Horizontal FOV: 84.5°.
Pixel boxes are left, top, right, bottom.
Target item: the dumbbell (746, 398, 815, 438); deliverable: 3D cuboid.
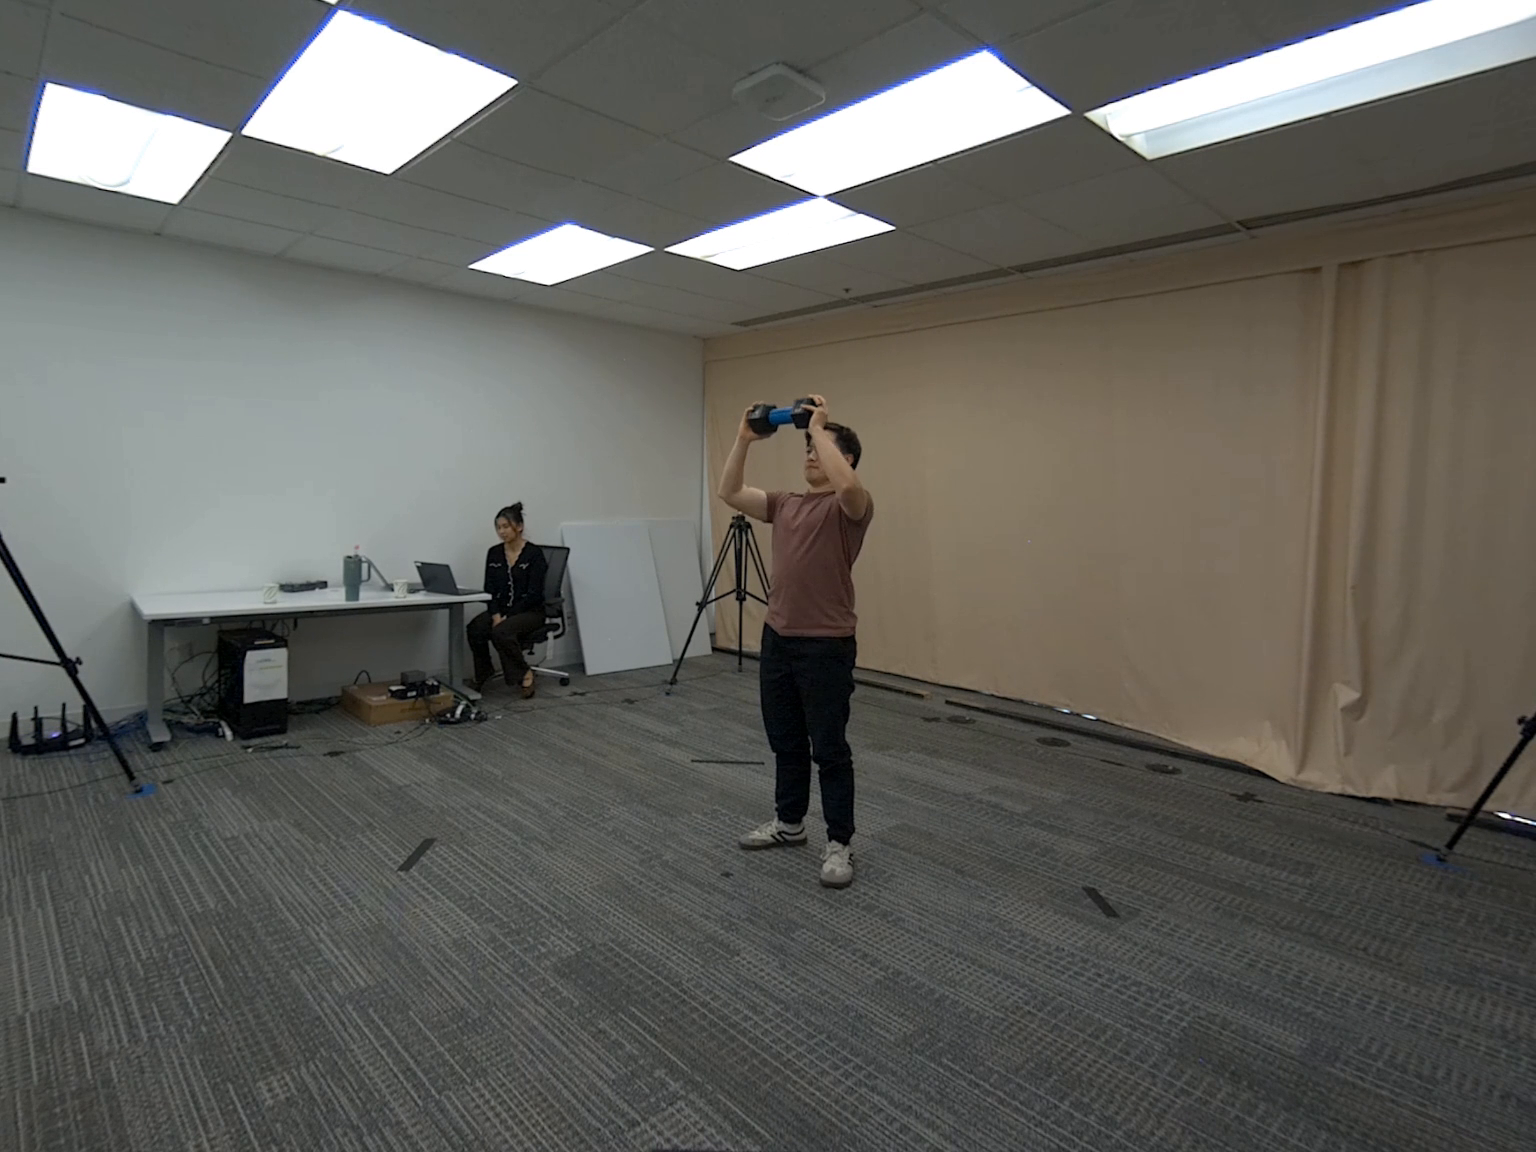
[{"bbox_3d":[0.061,-0.583,3.086,0.301,0.124,0.105,3,-23,45],"label":"dumbbell"}]
